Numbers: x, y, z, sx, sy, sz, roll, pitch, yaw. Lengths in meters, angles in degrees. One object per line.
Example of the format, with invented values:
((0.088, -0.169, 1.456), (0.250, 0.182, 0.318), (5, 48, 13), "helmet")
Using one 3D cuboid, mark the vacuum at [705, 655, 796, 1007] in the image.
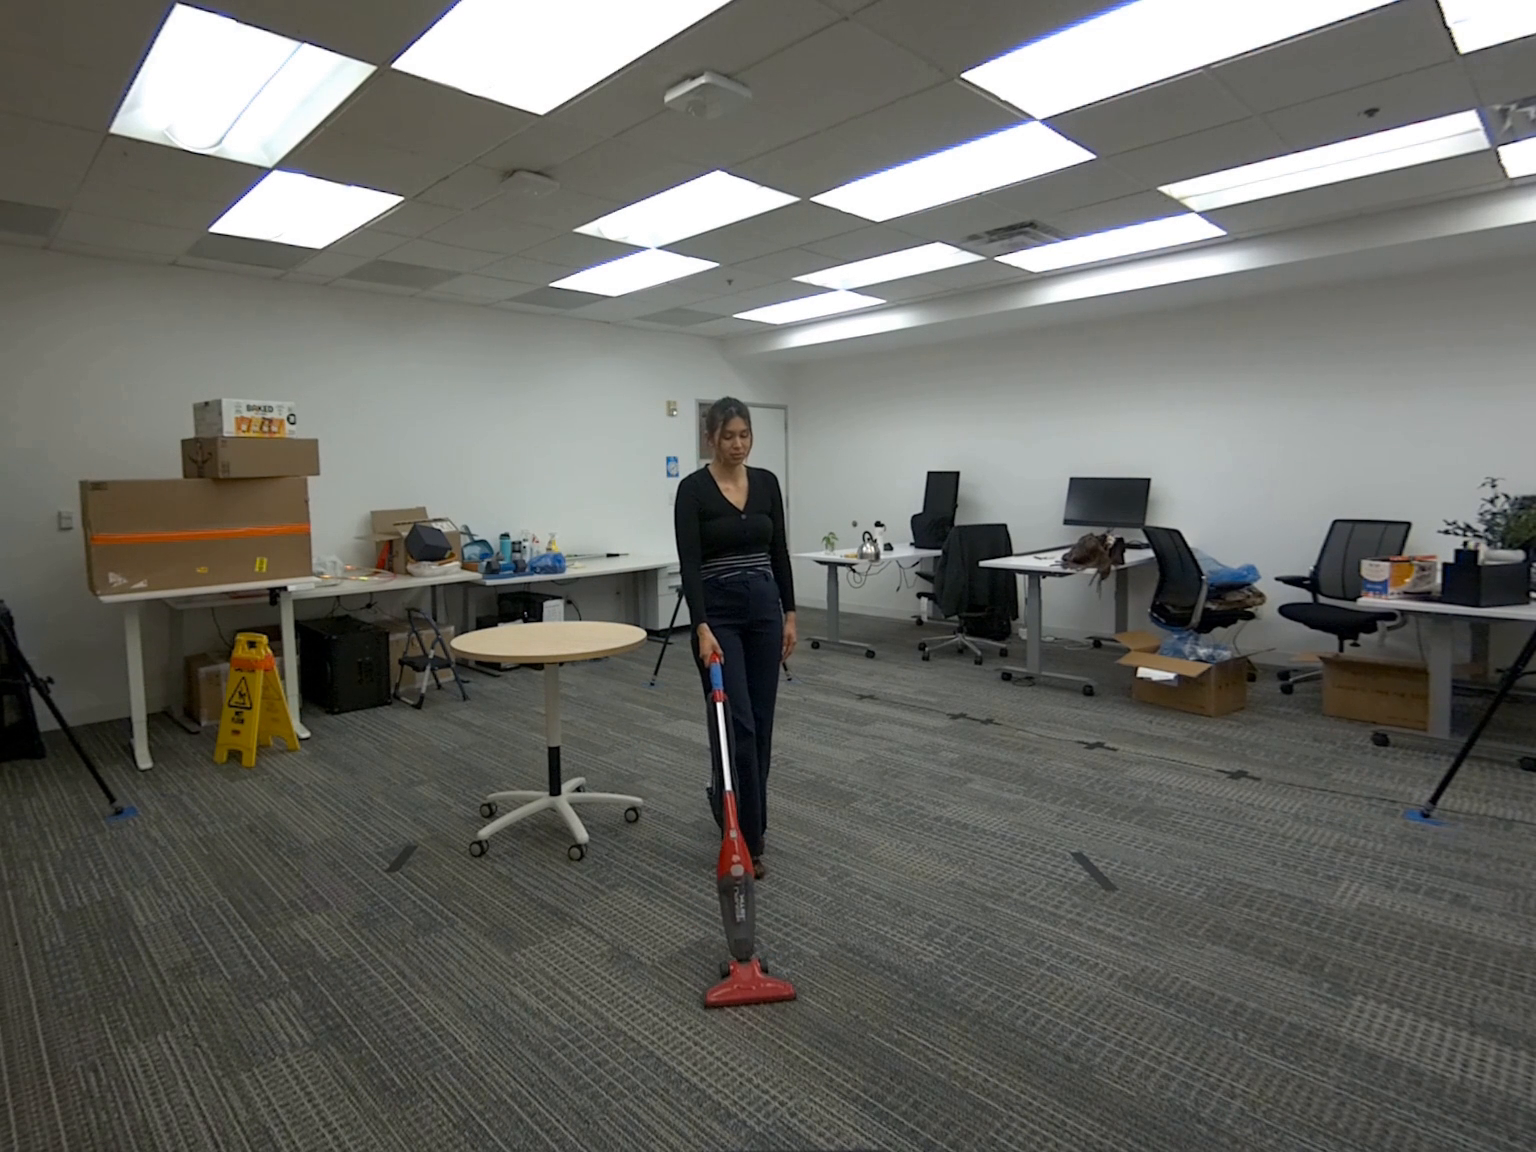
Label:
((-0.128, 0.690, 2.643), (0.250, 1.080, 0.141), (-3, -35, -9), "vacuum")
